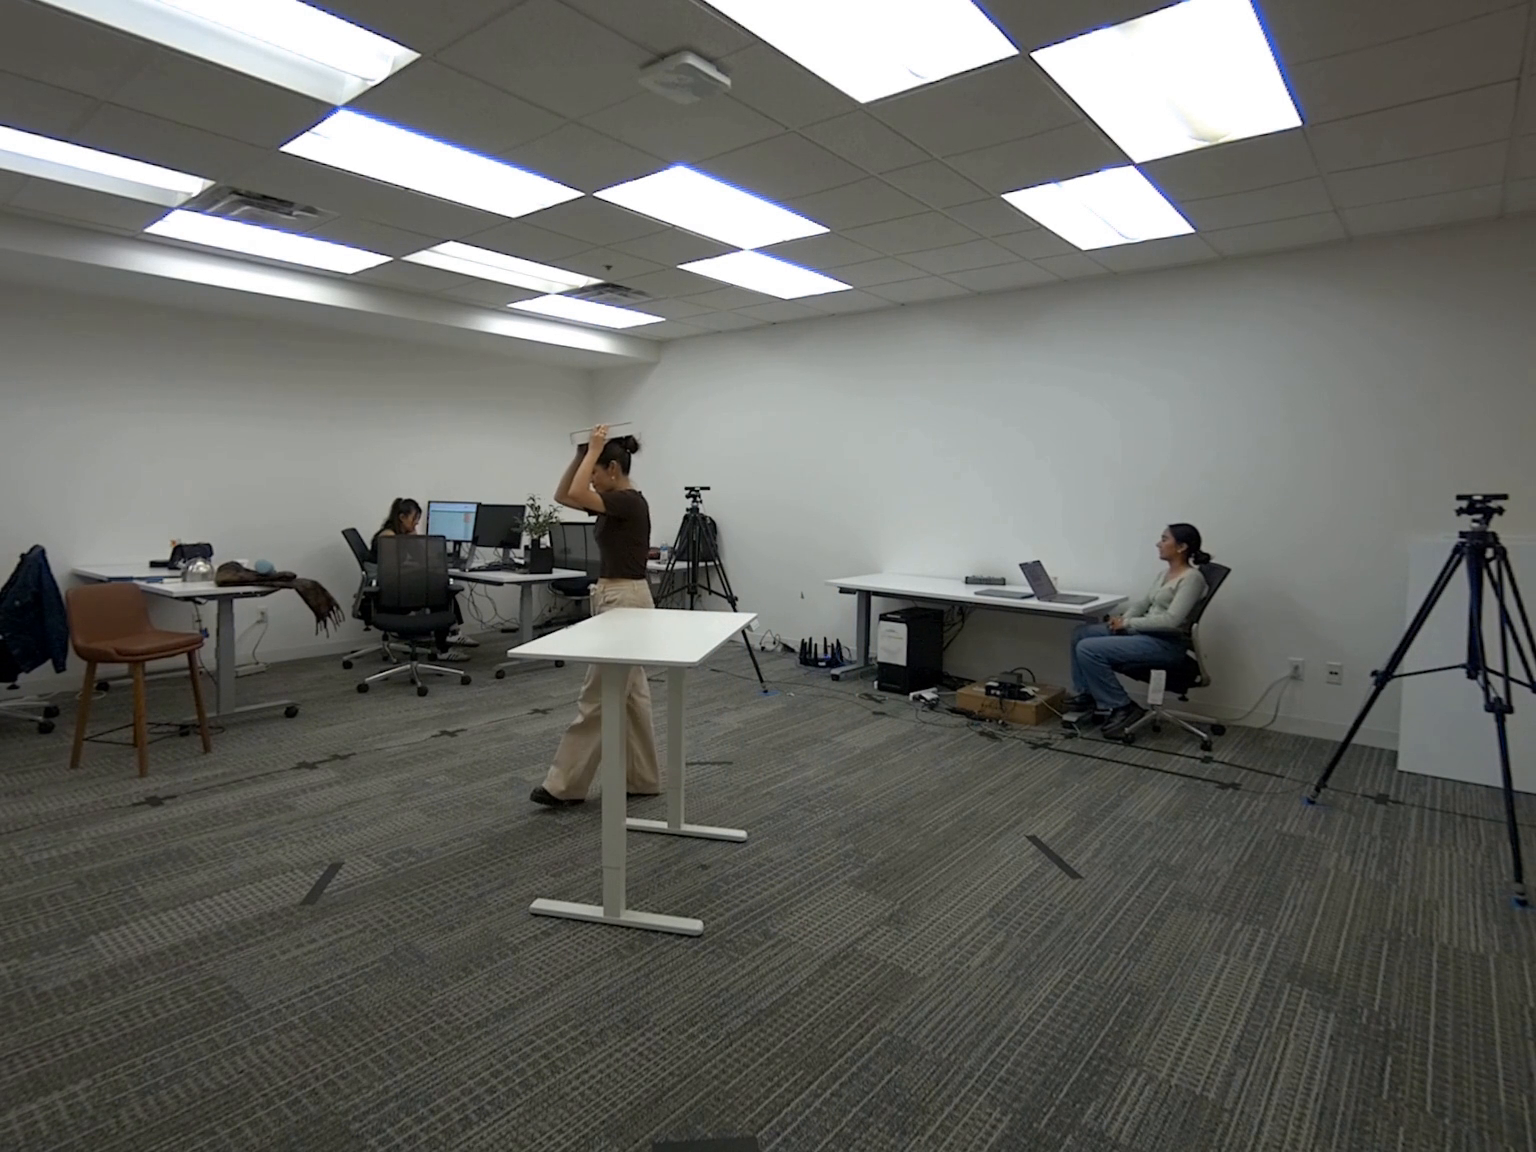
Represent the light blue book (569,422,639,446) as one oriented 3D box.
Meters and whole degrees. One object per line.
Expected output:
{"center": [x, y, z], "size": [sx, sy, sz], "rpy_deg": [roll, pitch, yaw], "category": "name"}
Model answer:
{"center": [-0.721, -0.630, 3.748], "size": [0.258, 0.058, 0.196], "rpy_deg": [-13, 11, -15], "category": "light blue book"}
